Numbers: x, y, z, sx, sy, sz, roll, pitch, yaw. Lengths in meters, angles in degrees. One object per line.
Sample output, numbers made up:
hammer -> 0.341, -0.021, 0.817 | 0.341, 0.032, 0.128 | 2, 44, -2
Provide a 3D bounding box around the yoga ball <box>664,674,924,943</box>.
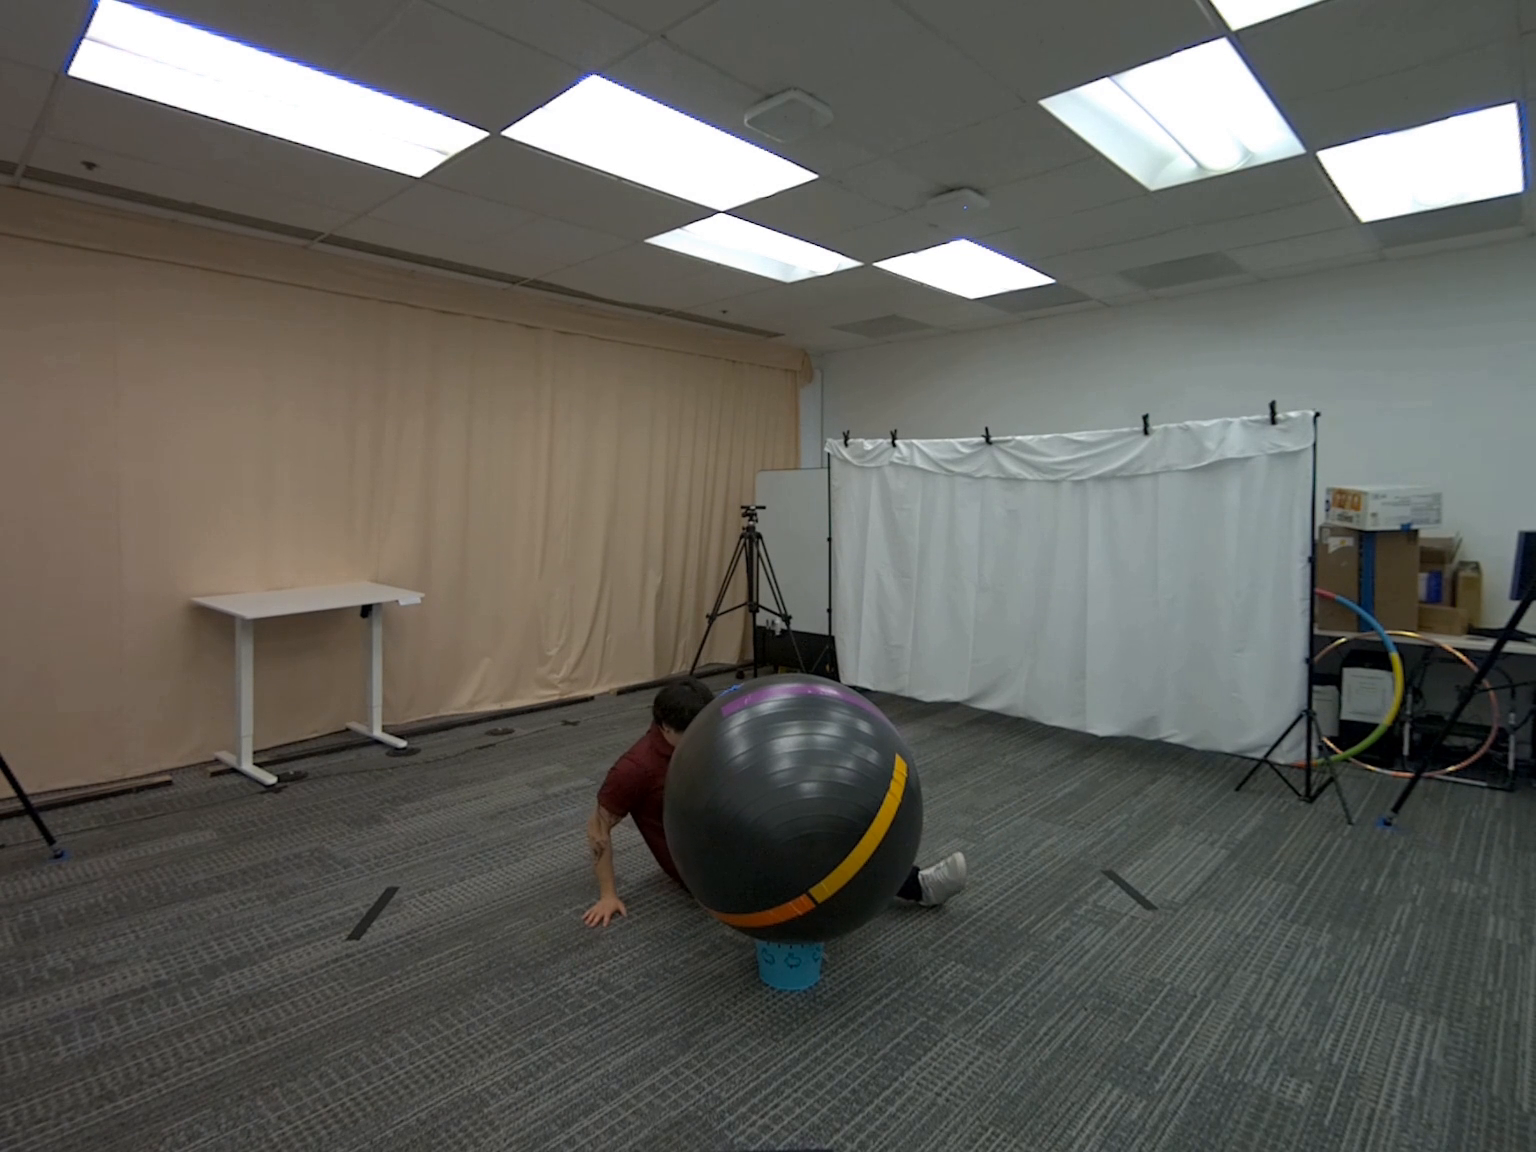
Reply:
yoga ball -> 0.072, 0.678, 2.482 | 0.757, 0.756, 0.760 | 0, 4, -2
